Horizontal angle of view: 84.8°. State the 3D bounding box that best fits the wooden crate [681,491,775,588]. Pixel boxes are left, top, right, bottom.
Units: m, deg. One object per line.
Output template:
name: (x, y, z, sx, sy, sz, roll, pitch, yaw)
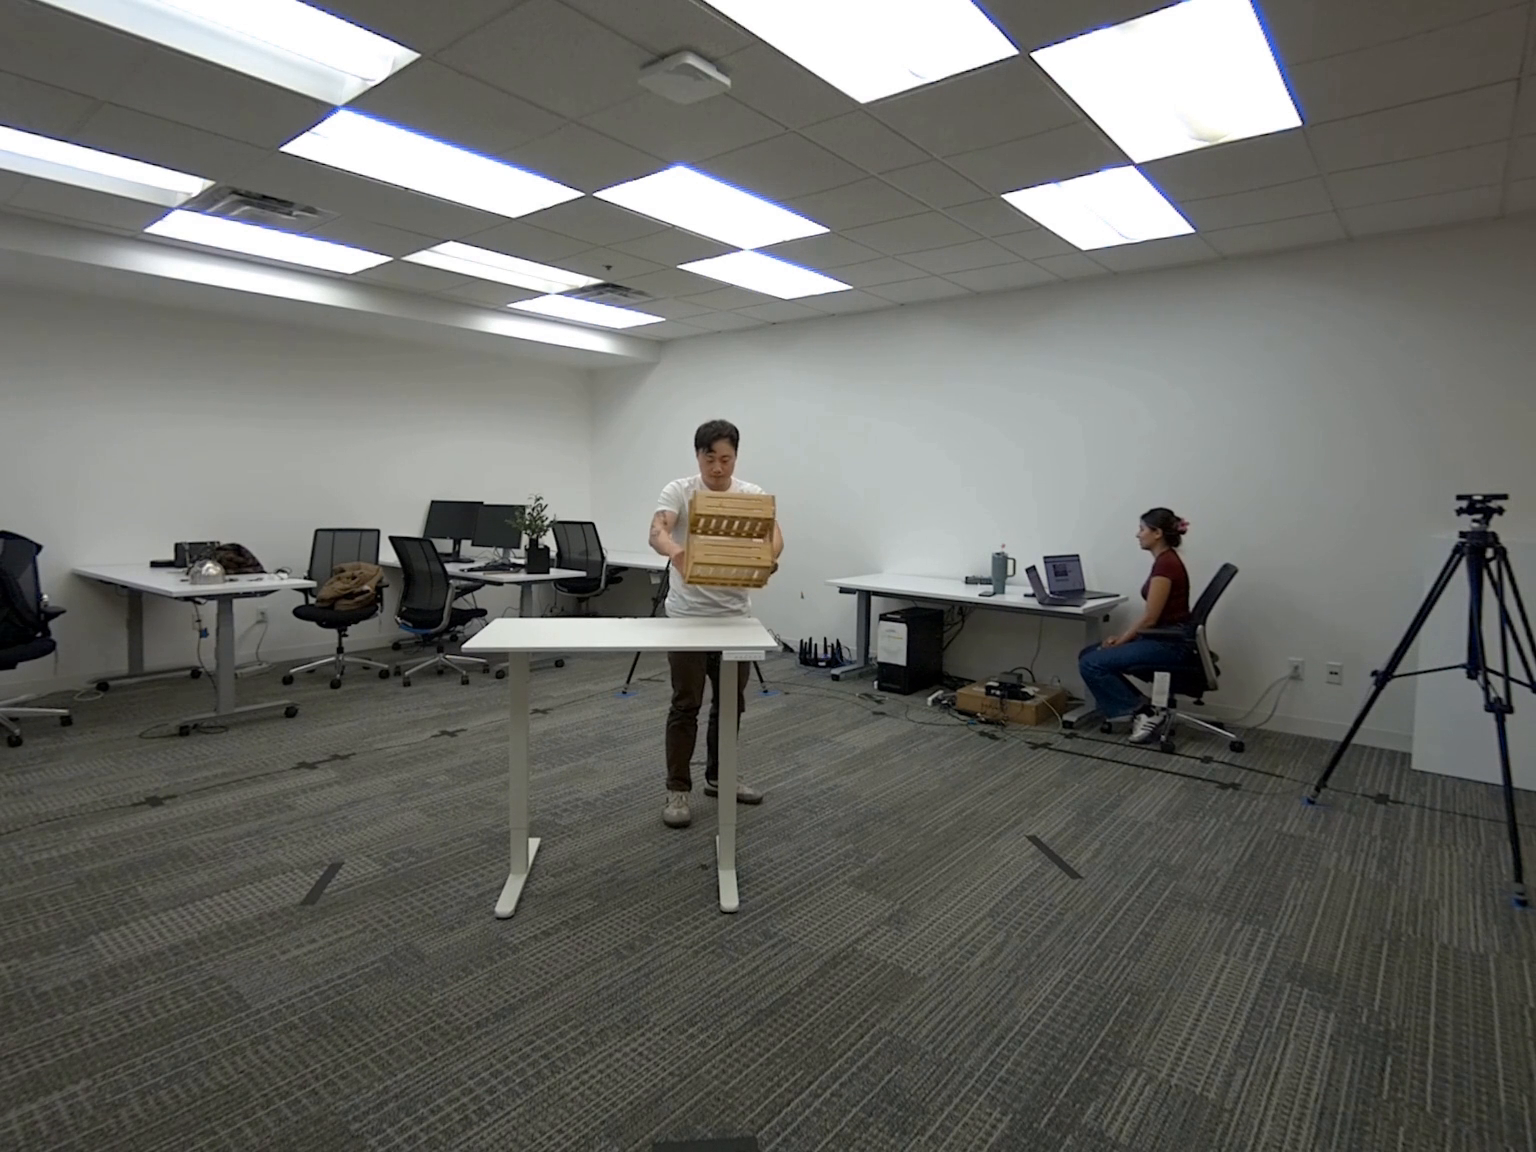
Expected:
wooden crate: (-0.156, -0.131, 3.195, 0.322, 0.279, 0.298, 2, -22, -7)
